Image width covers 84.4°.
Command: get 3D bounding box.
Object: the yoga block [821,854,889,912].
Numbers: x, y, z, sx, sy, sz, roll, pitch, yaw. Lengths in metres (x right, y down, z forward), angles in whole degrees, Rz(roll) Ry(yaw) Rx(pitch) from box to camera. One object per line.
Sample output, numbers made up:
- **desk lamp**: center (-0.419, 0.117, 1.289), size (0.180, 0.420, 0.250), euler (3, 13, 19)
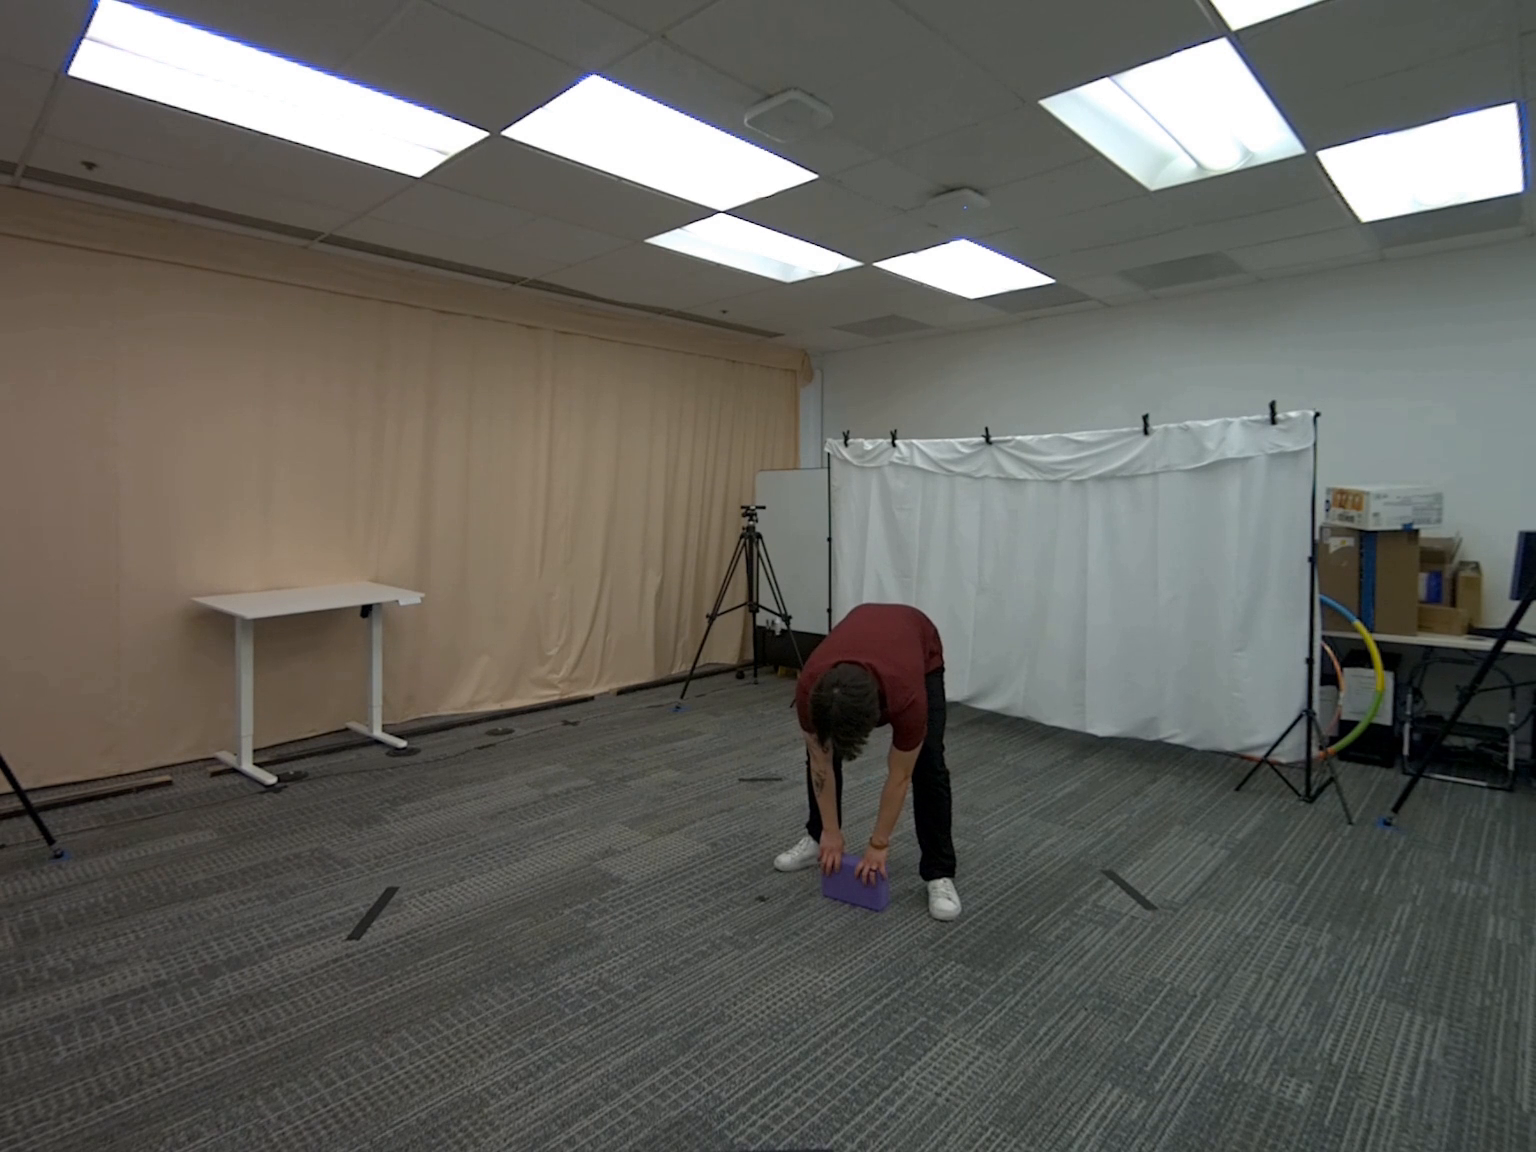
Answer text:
- **yoga block**: center (0.315, 1.075, 2.971), size (0.236, 0.149, 0.074), euler (2, 0, 32)
